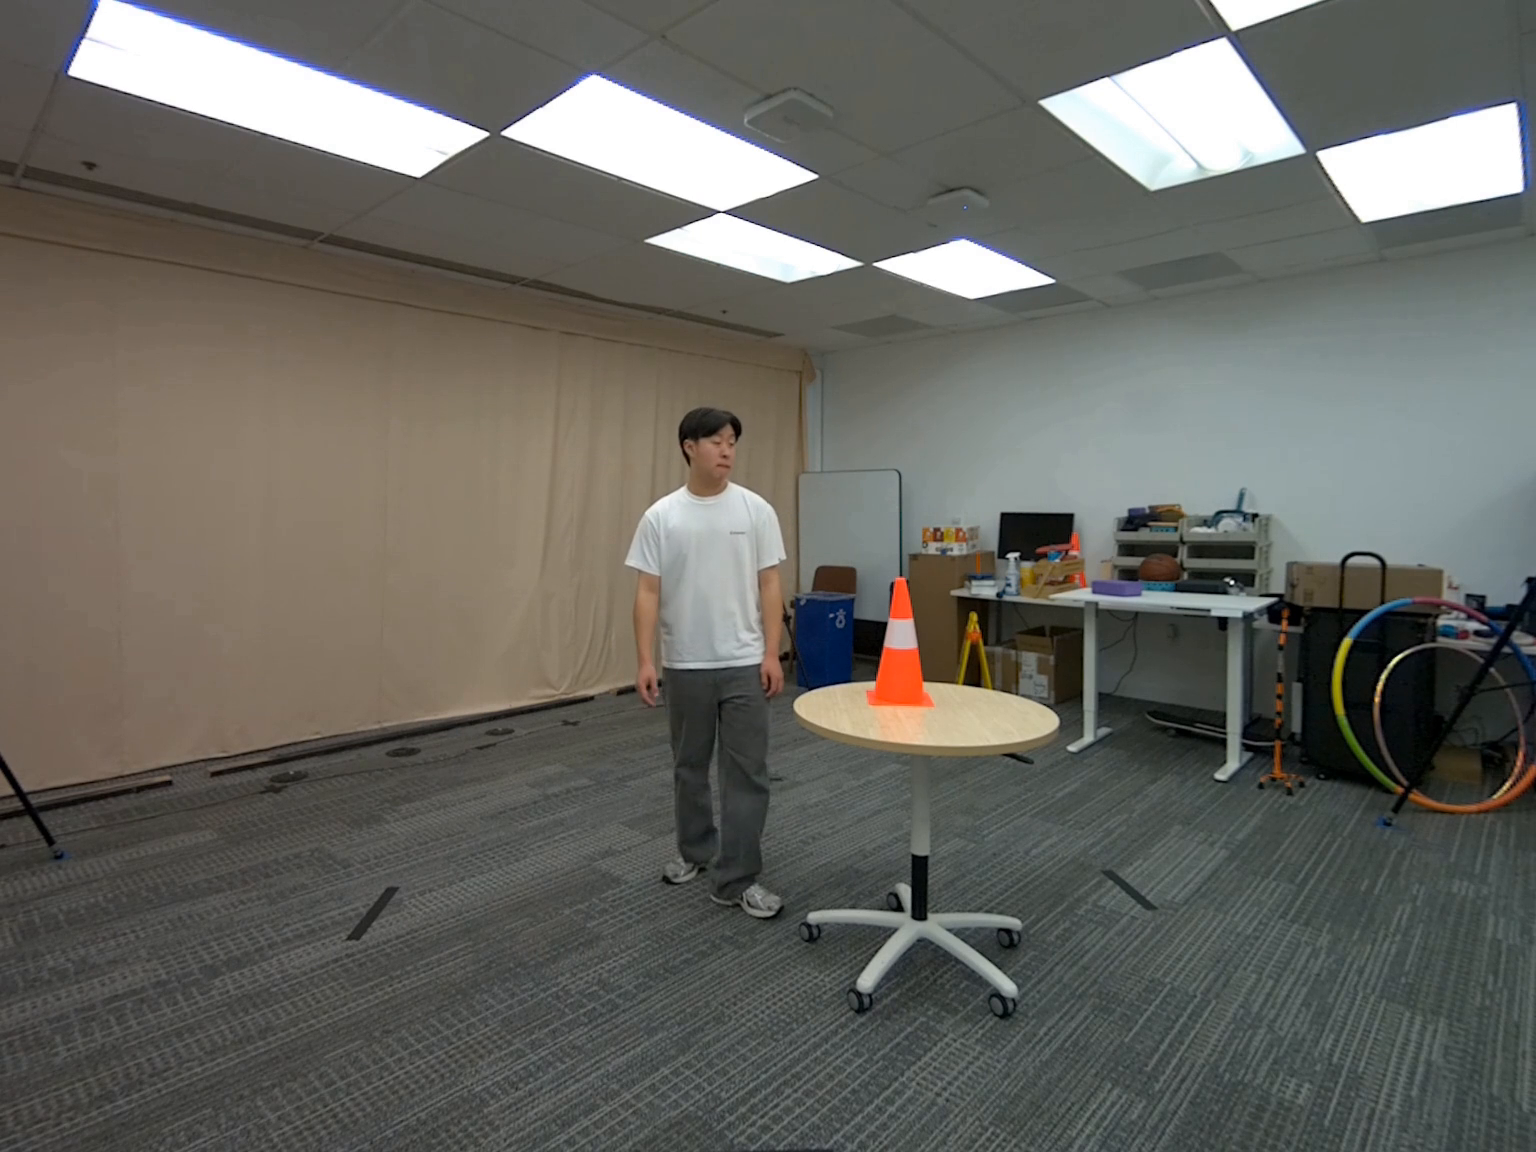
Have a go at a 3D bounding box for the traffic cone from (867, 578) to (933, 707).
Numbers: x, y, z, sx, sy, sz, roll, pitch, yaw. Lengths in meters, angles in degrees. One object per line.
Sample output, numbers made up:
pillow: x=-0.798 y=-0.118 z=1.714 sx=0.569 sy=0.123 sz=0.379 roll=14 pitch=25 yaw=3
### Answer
traffic cone: x=0.423 y=0.202 z=2.639 sx=0.206 sy=0.383 sz=0.202 roll=-1 pitch=3 yaw=6
